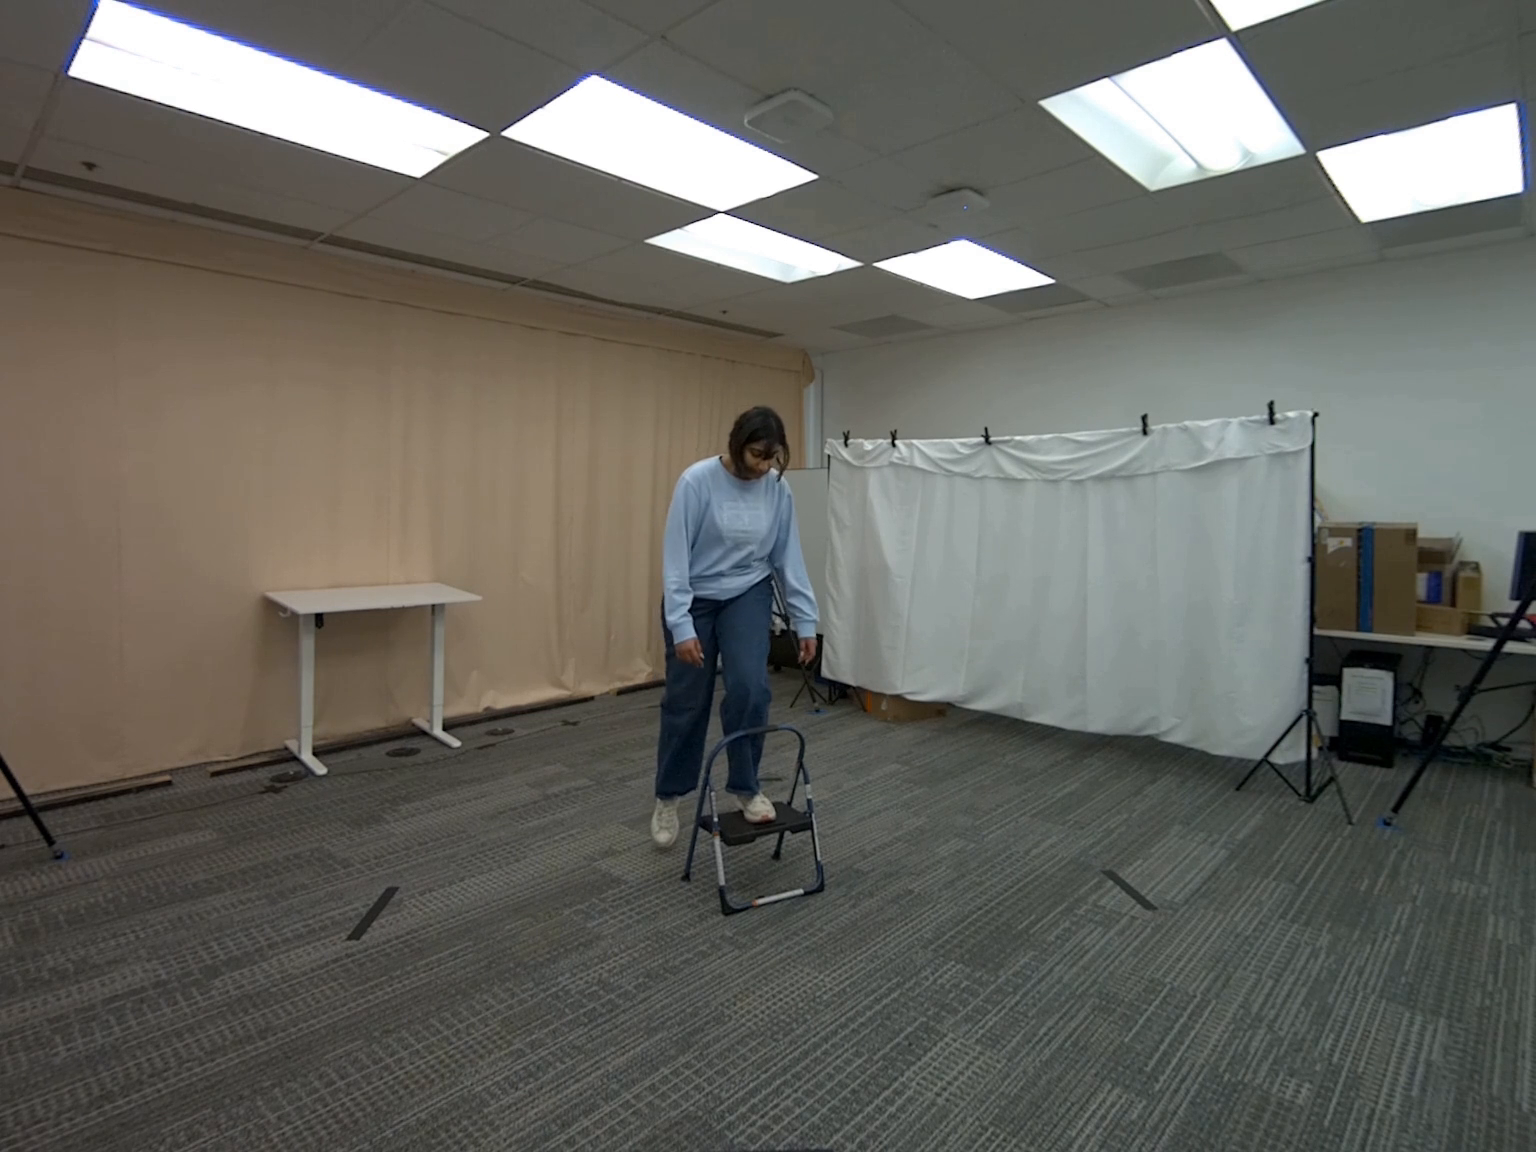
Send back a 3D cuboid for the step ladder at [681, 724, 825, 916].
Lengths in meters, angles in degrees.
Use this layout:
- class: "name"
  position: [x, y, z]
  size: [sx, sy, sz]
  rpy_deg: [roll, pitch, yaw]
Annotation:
- class: "step ladder"
  position: [-0.053, 0.834, 3.082]
  size: [0.419, 0.605, 0.359]
  rpy_deg: [-2, 3, -30]
